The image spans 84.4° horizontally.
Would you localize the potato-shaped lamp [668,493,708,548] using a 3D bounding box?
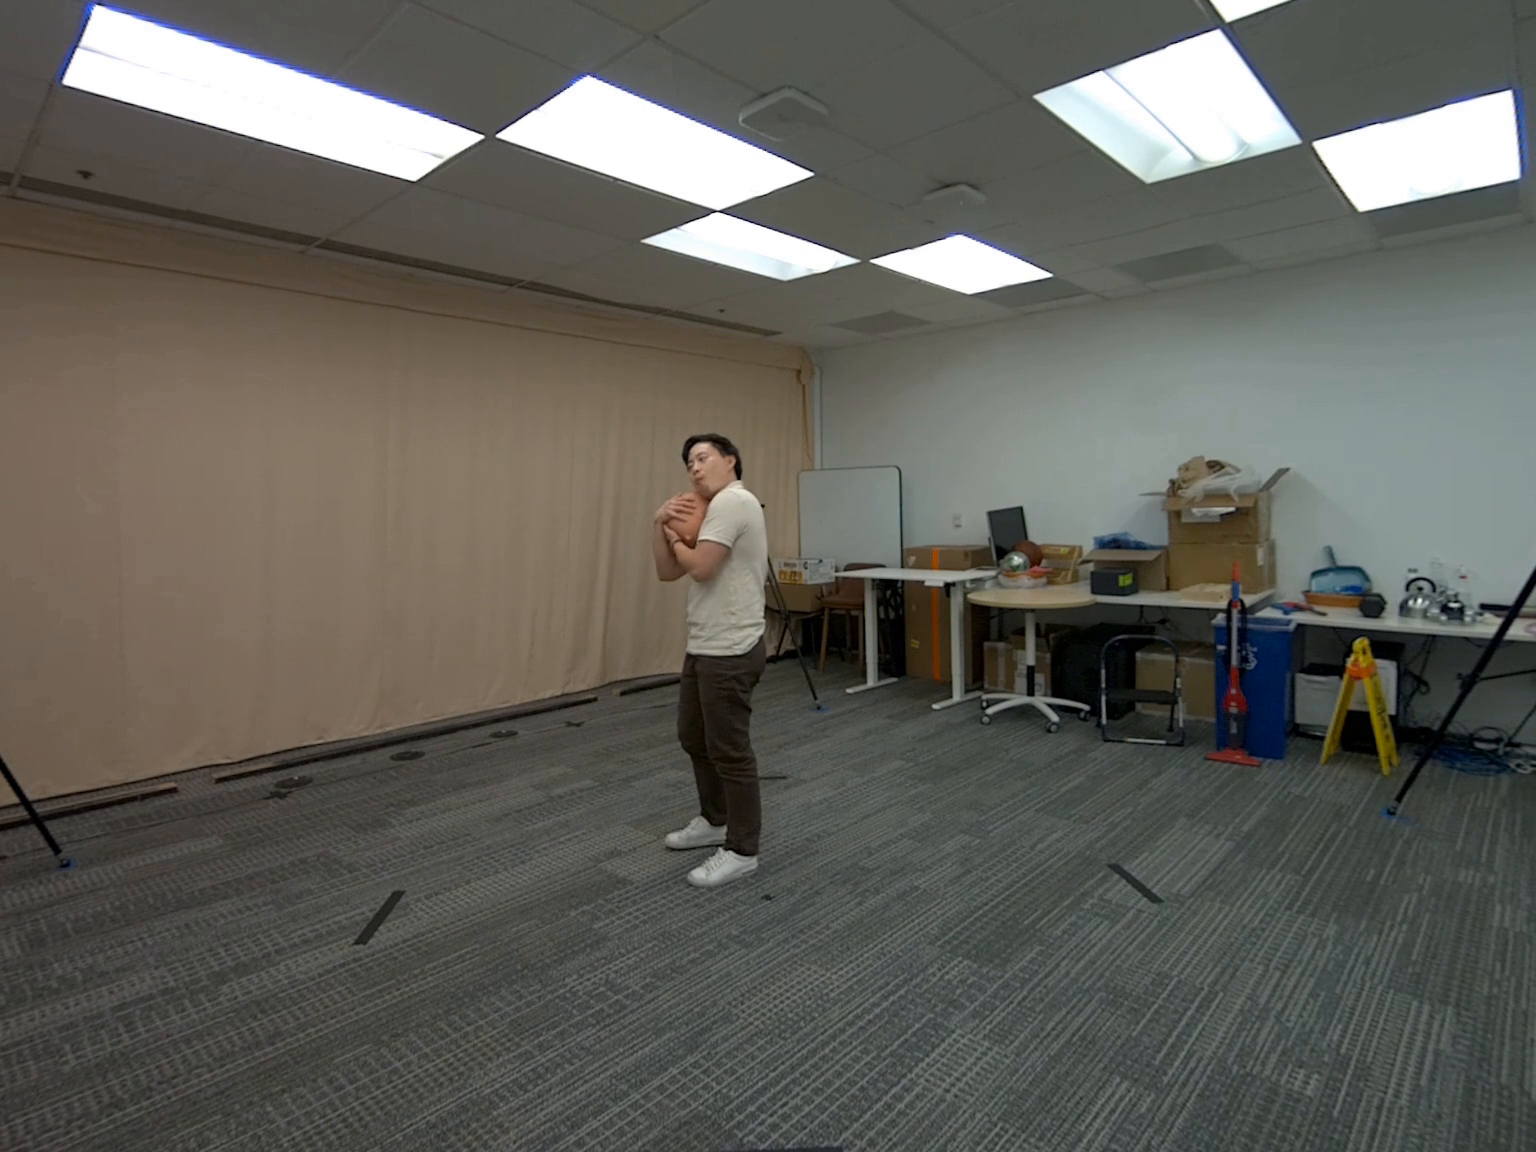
[{"bbox_3d":[-0.280,-0.219,3.241,0.197,0.174,0.163,-42,-15,-15],"label":"potato-shaped lamp"}]
